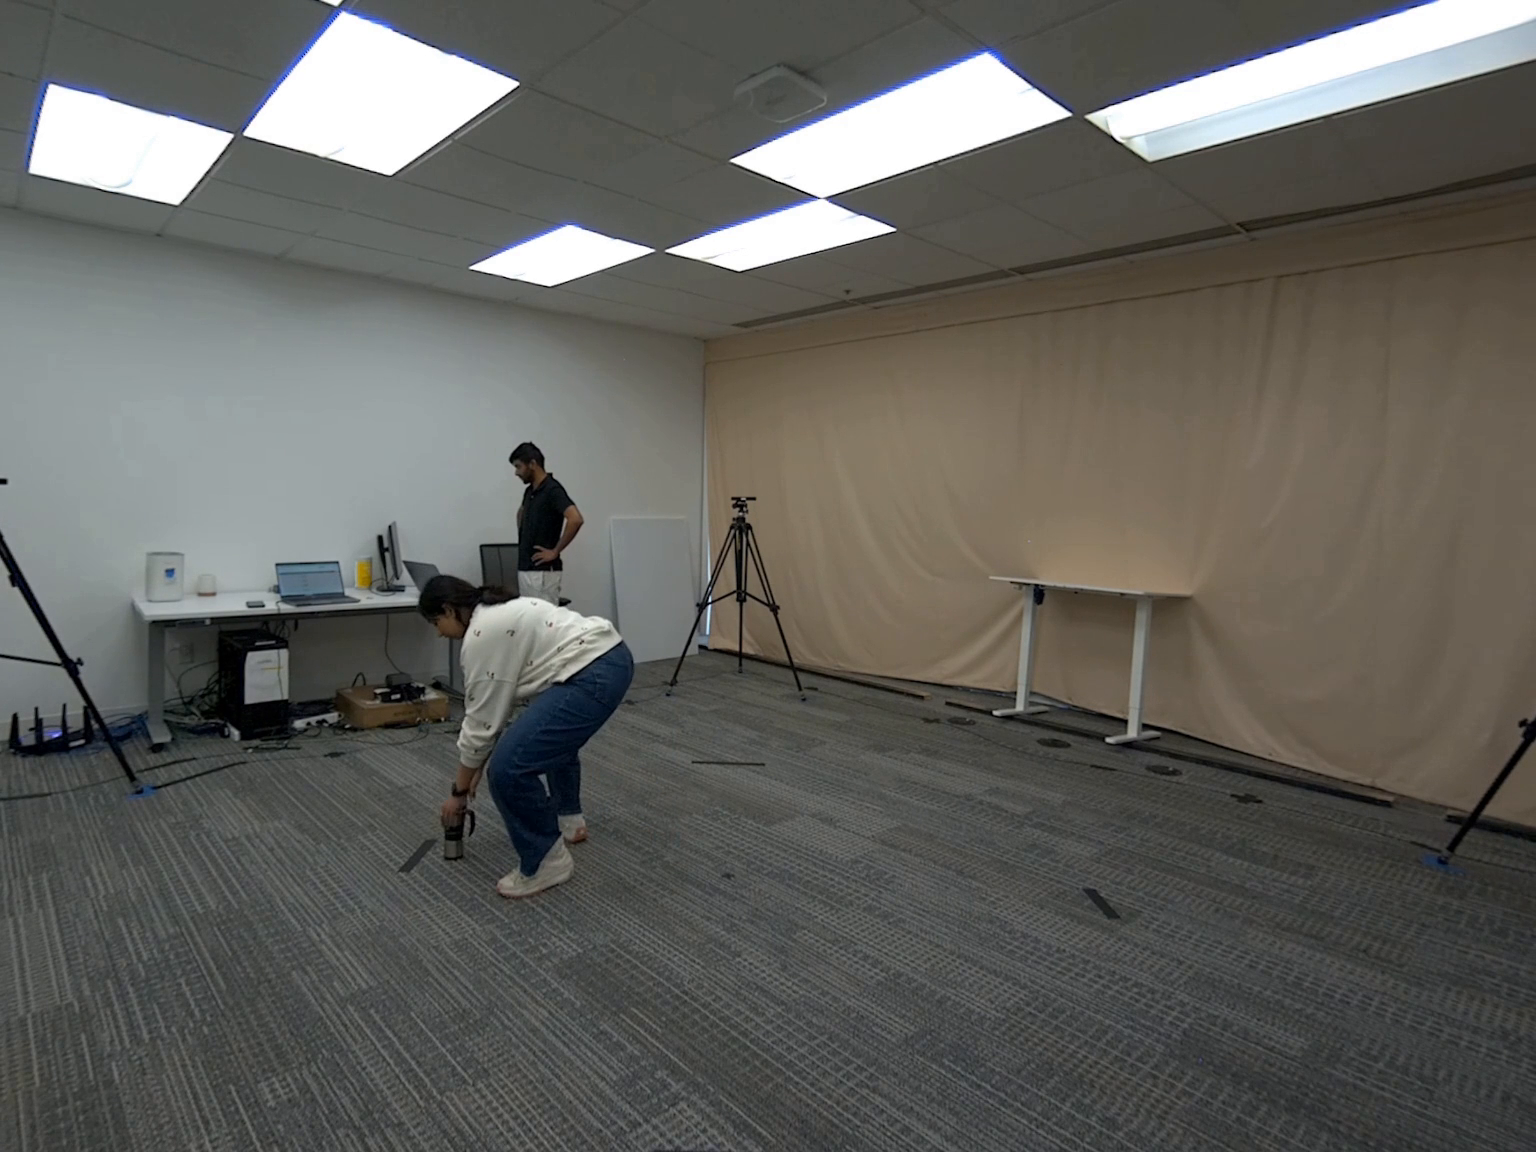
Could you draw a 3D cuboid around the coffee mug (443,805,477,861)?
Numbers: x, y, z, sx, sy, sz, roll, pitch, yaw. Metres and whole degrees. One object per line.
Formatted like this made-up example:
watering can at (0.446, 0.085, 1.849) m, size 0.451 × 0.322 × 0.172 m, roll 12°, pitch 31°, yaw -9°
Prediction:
coffee mug at (-1.195, 0.980, 3.196) m, size 0.125 × 0.203 × 0.086 m, roll -1°, pitch -2°, yaw 42°
